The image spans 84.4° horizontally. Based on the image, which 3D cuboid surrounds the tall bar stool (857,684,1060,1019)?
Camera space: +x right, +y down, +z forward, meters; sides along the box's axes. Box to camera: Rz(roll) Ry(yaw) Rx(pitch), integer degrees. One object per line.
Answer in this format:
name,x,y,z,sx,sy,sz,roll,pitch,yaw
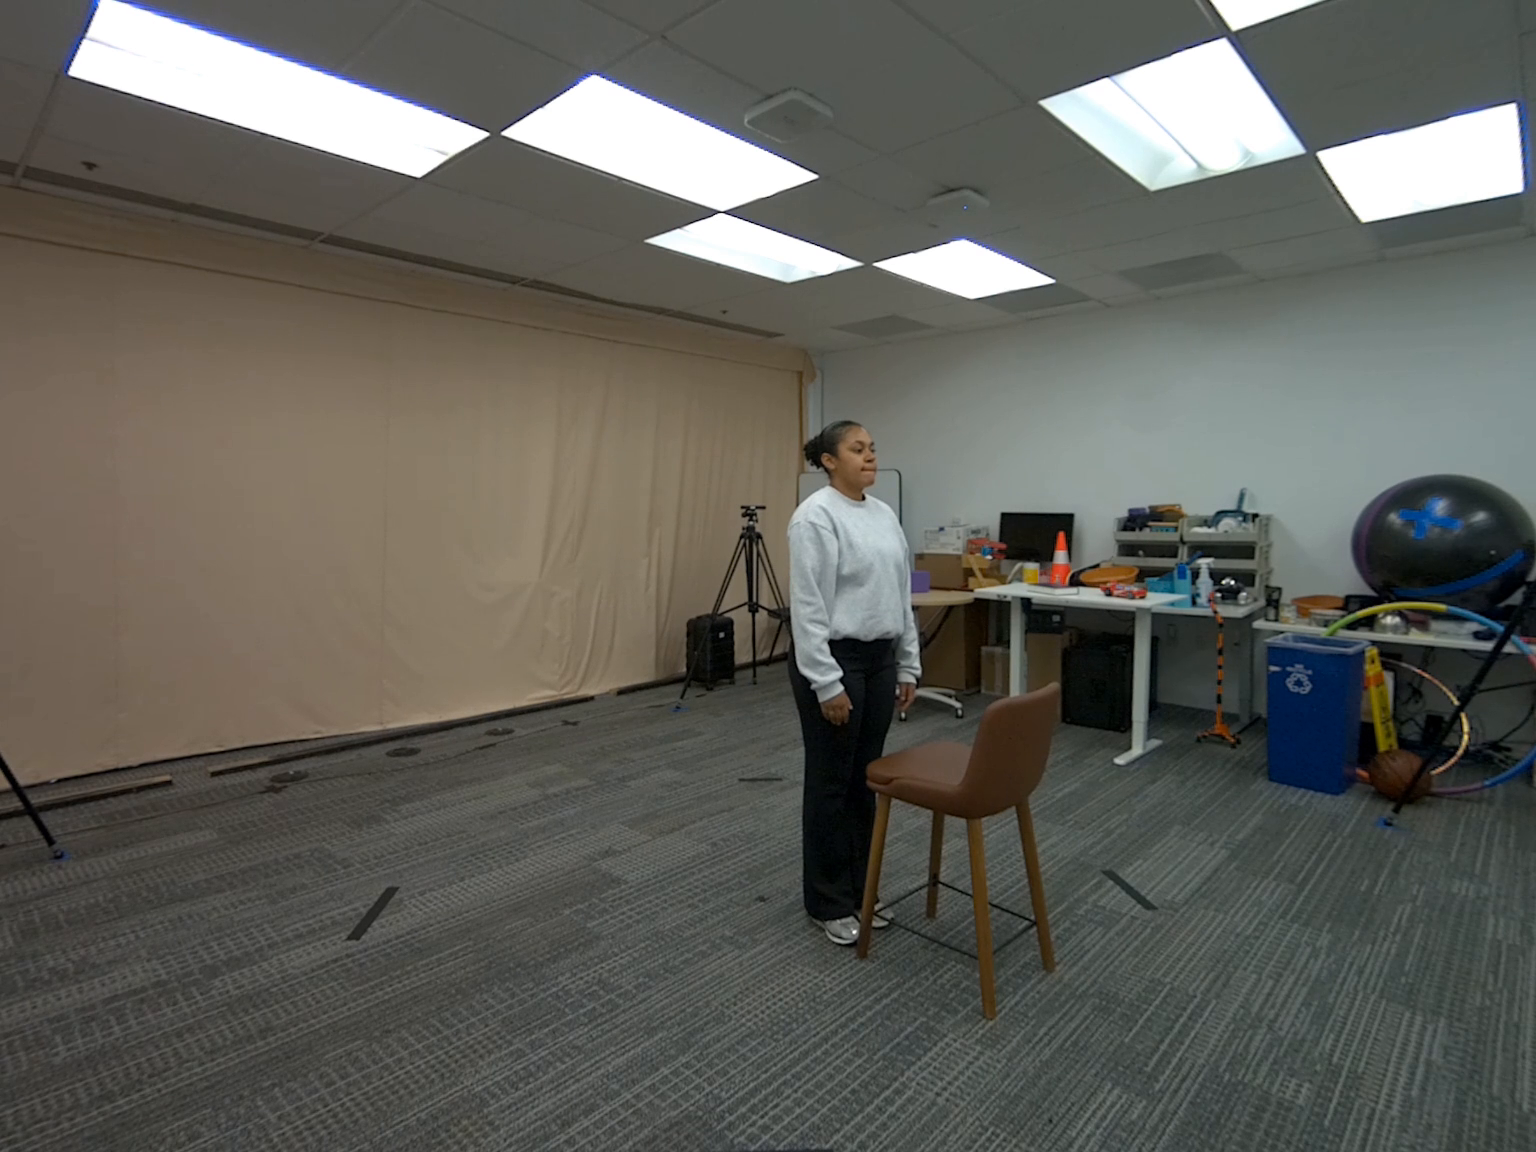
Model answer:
tall bar stool,0.577,0.738,2.537,0.442,0.887,0.483,-4,7,-44
